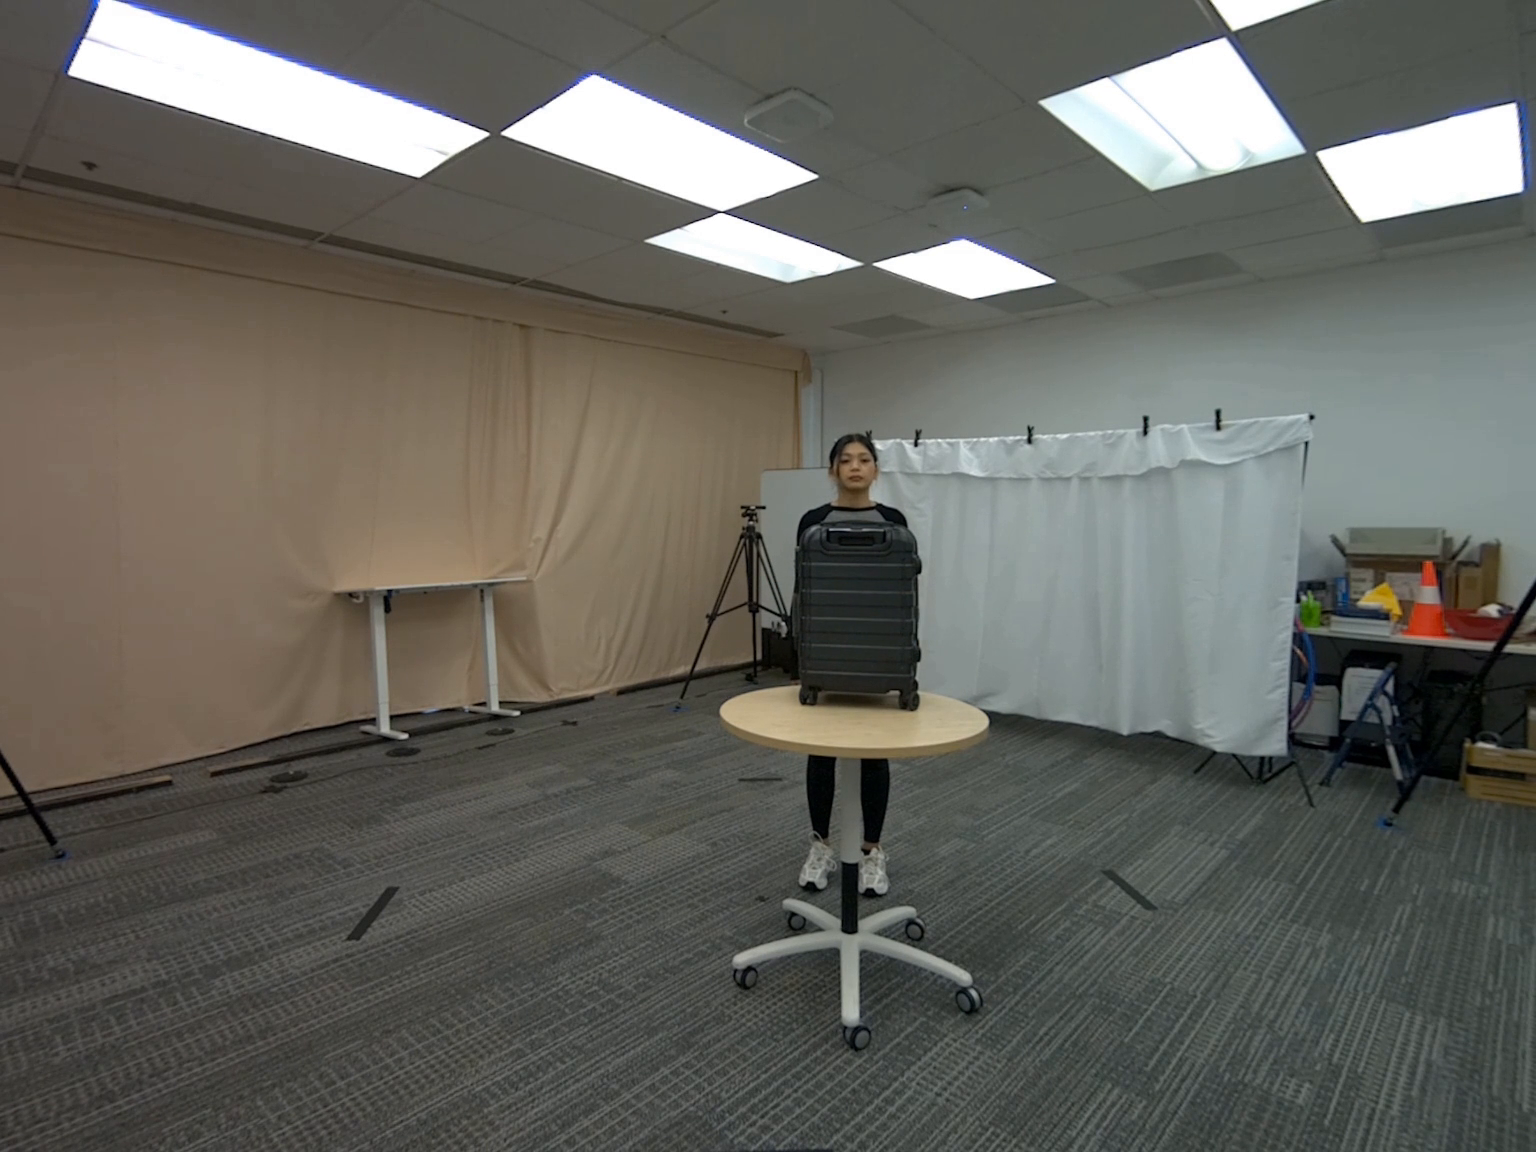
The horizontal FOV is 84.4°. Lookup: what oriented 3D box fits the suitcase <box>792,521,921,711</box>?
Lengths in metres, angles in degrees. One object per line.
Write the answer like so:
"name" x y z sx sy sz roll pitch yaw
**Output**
"suitcase" 0.272 0.106 2.585 0.380 0.548 0.245 0 3 12
